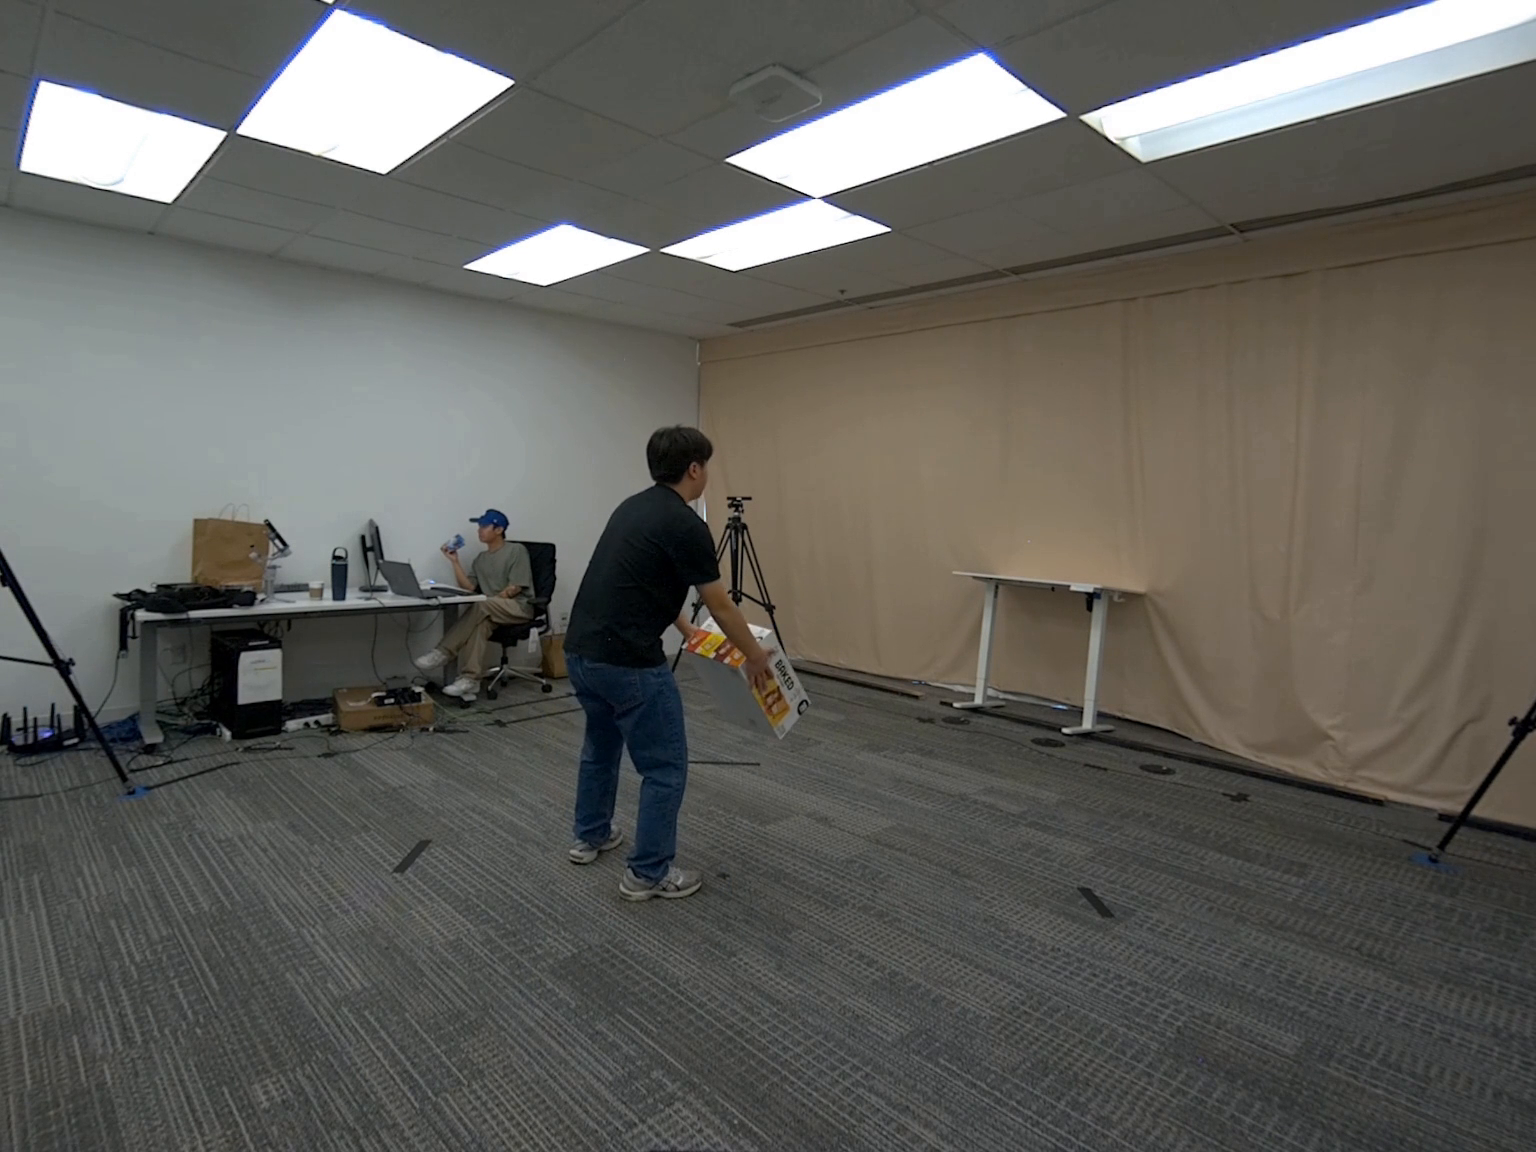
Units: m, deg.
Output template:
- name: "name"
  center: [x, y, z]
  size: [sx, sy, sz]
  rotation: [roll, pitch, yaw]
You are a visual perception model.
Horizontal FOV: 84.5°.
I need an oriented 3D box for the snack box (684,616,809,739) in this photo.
- name: "snack box"
  center: [-0.091, 0.393, 3.296]
  size: [0.350, 0.394, 0.205]
  rotation: [12, 48, 47]
